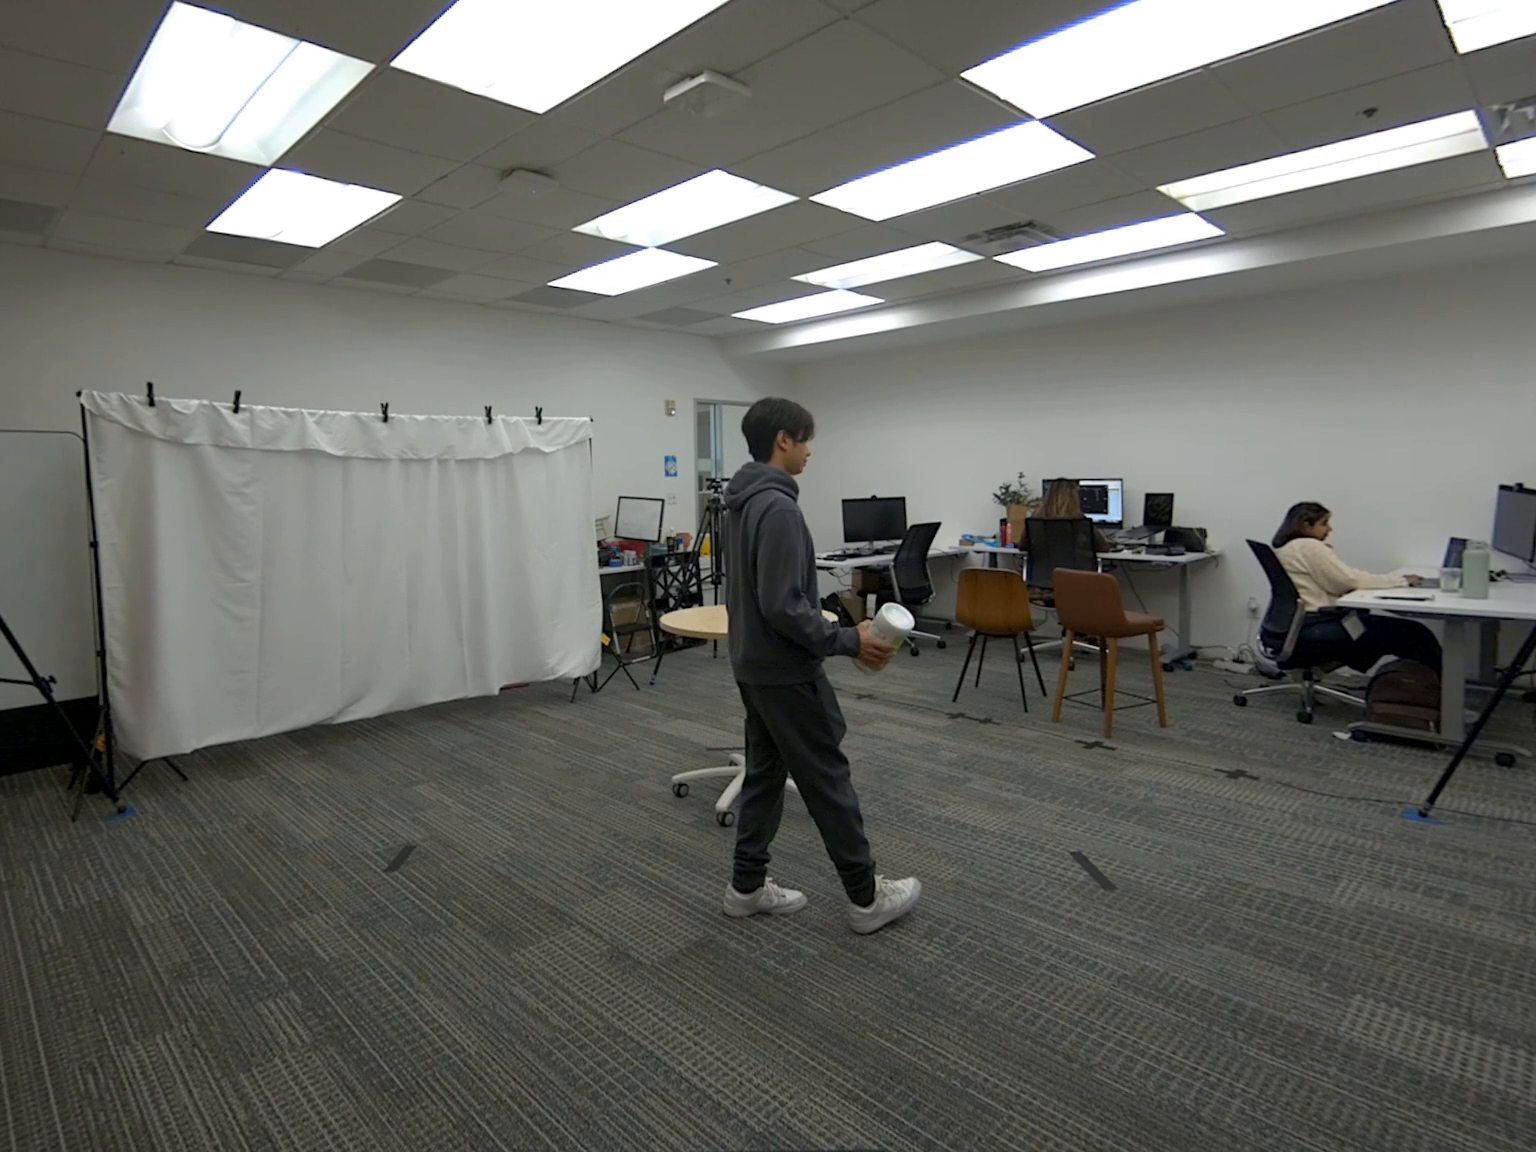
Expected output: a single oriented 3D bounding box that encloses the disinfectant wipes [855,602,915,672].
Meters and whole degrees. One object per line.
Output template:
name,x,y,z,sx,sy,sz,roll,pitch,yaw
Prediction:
disinfectant wipes,0.344,0.187,2.553,0.116,0.215,0.121,16,37,-14
